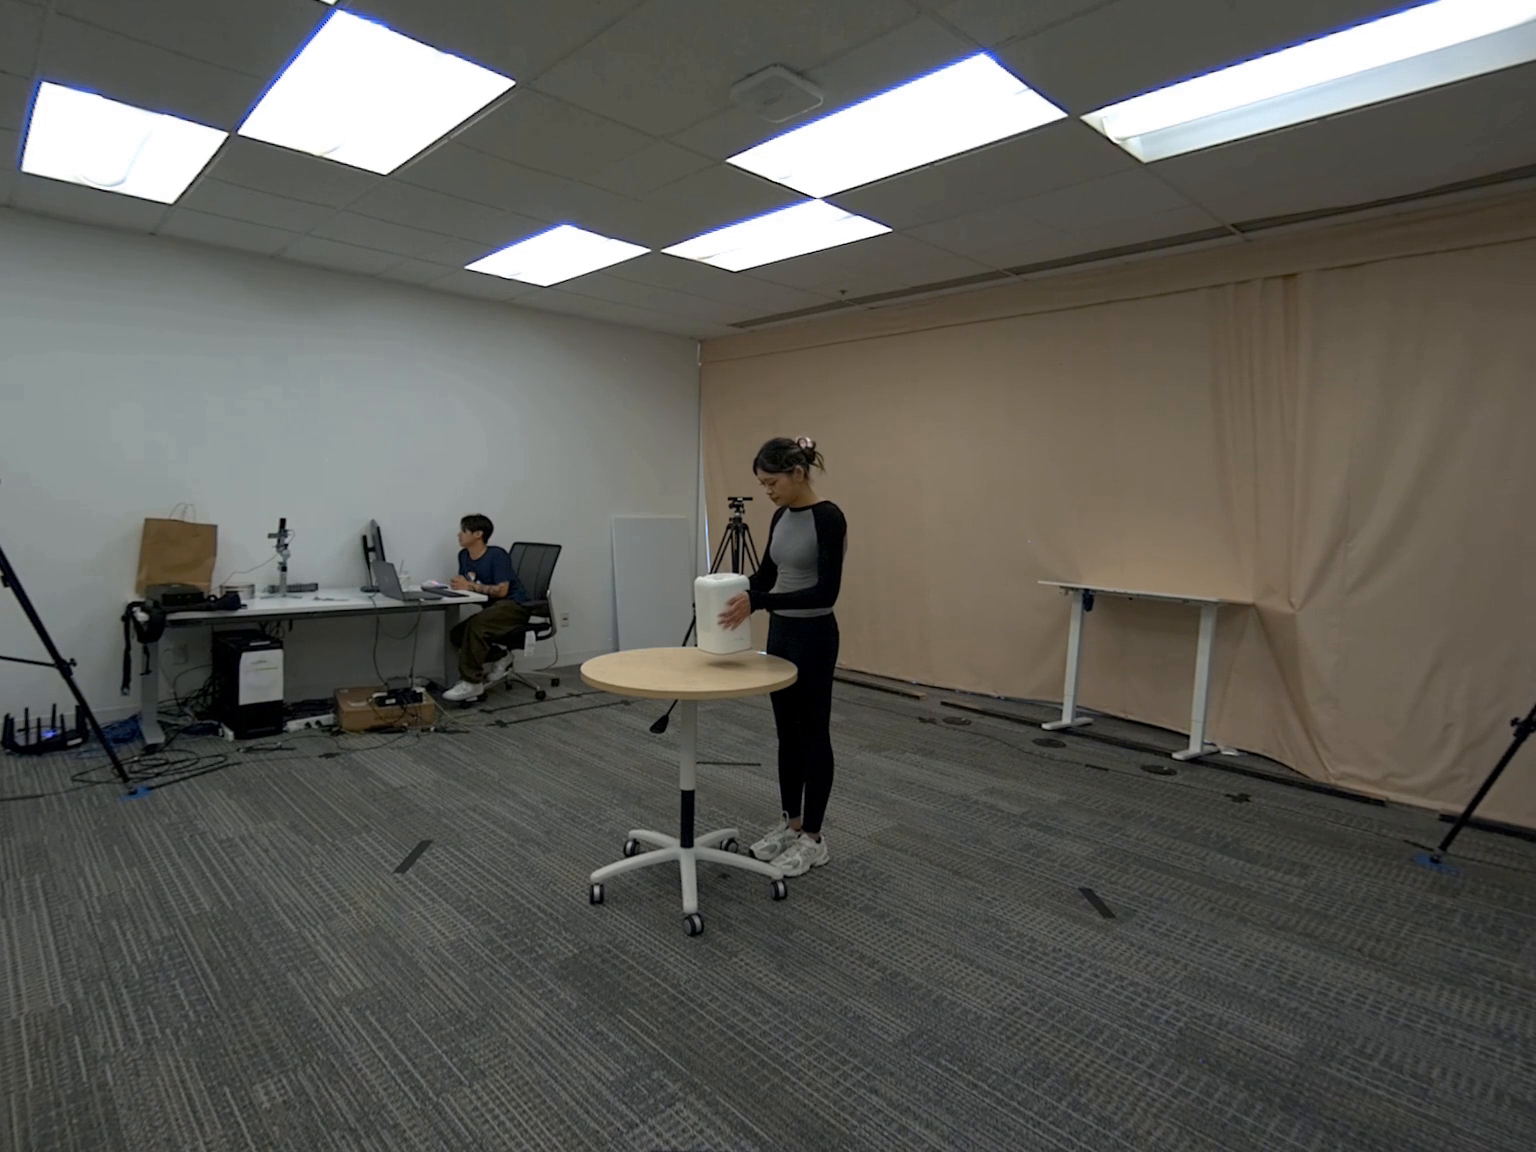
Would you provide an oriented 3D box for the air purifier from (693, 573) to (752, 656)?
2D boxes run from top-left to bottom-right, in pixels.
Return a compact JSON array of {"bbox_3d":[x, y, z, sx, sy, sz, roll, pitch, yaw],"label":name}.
[{"bbox_3d":[-0.165,0.130,3.012,0.176,0.264,0.167,6,10,43],"label":"air purifier"}]
